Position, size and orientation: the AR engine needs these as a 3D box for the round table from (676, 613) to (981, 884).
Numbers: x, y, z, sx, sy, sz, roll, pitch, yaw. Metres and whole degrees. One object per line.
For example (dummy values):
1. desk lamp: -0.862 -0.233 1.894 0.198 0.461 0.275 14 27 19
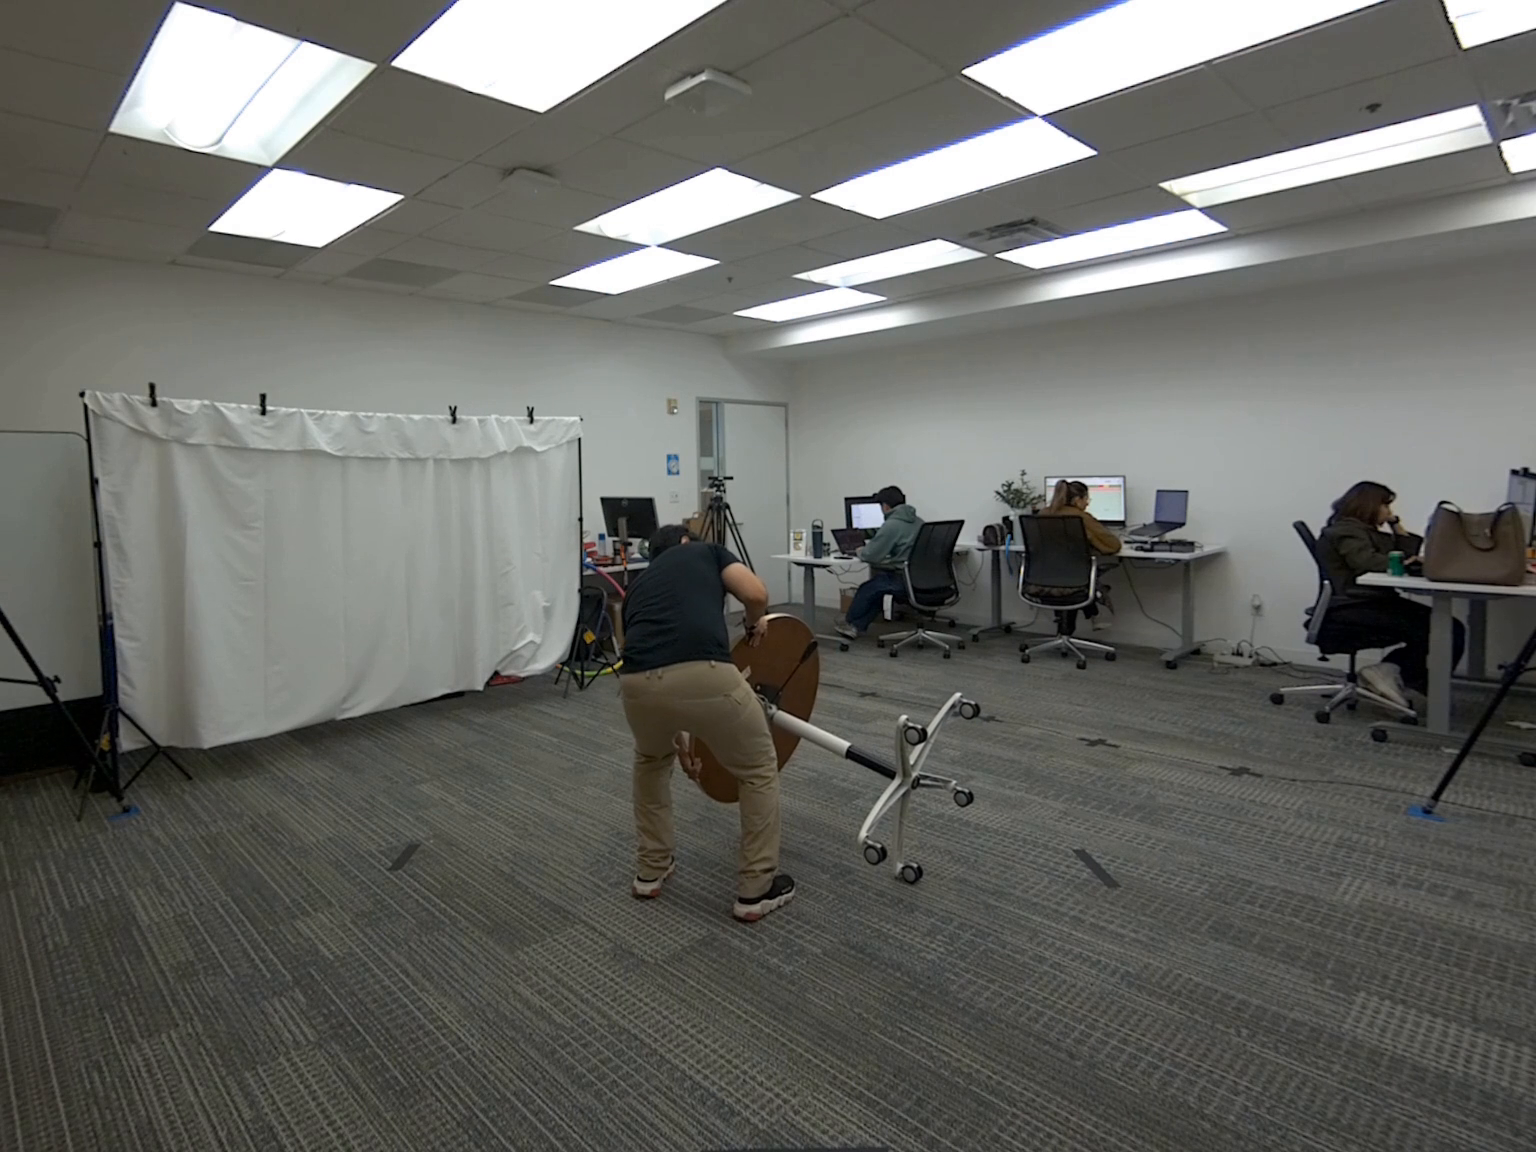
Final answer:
1. round table: 0.266 0.608 3.099 0.814 0.778 0.765 18 16 37
